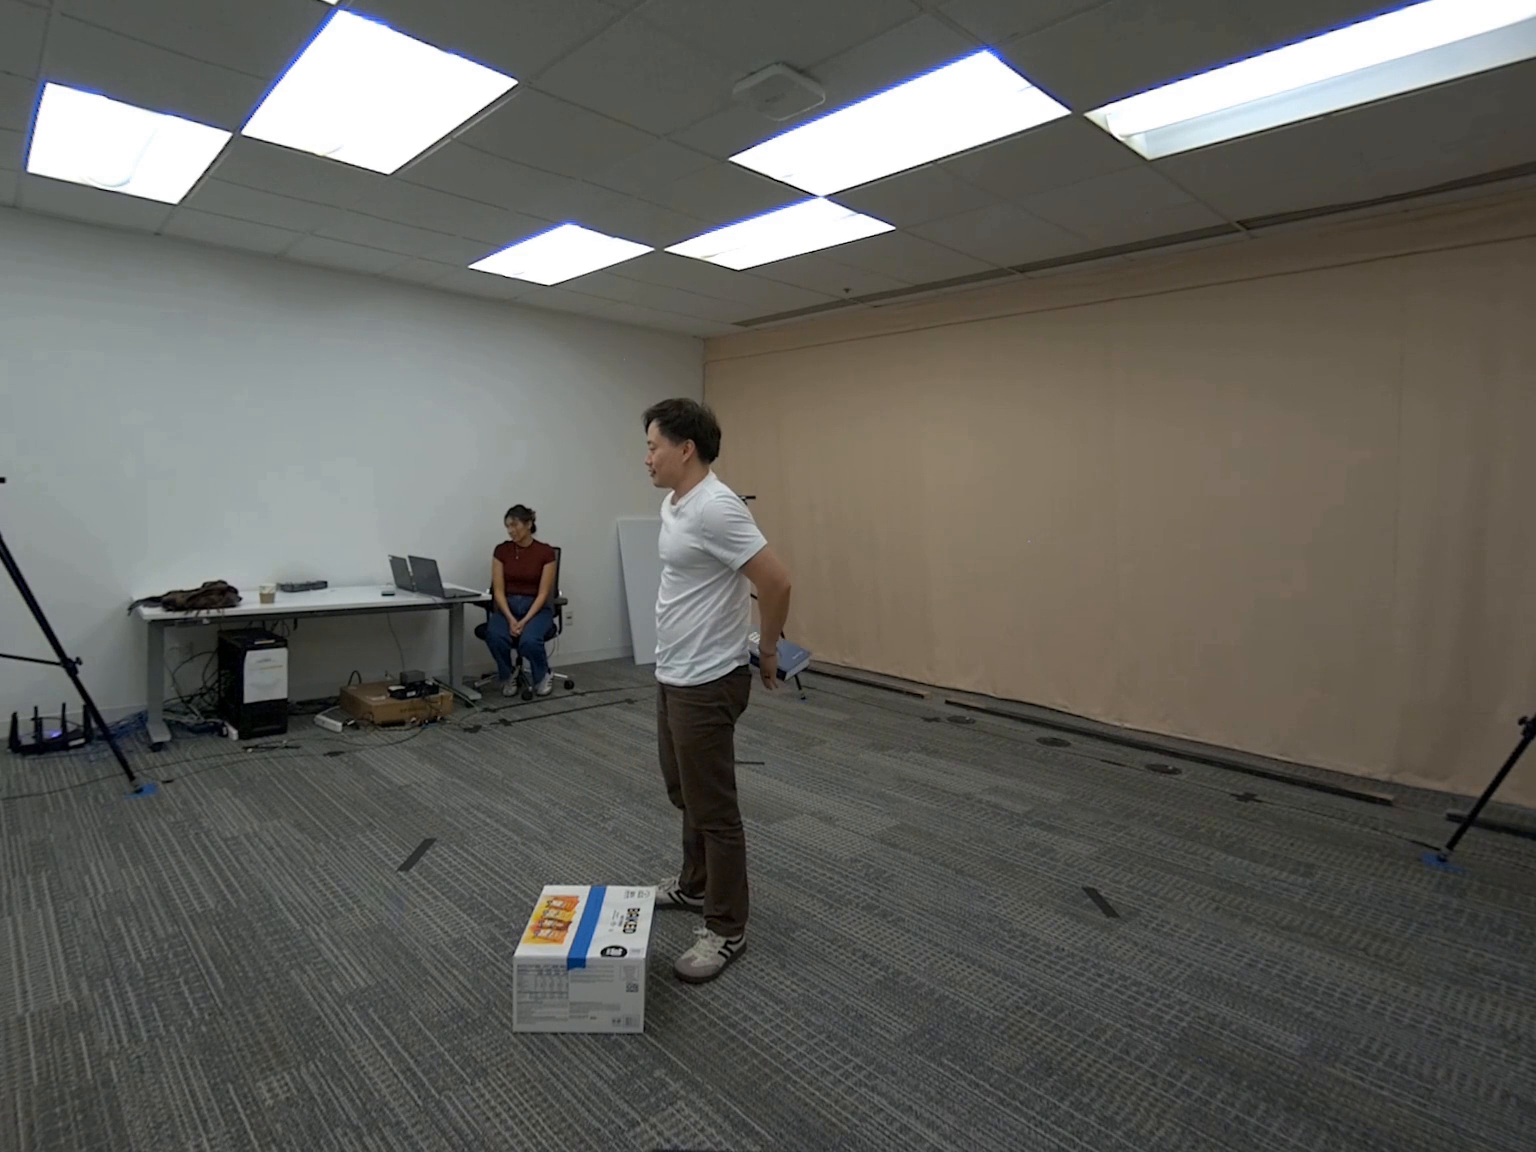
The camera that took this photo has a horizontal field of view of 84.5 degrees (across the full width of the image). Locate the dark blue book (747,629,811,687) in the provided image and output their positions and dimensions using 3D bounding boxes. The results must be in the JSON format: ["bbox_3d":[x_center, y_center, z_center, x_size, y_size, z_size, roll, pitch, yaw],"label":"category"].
[{"bbox_3d":[-0.010,0.255,2.855,0.250,0.044,0.162,23,26,22],"label":"dark blue book"}]
